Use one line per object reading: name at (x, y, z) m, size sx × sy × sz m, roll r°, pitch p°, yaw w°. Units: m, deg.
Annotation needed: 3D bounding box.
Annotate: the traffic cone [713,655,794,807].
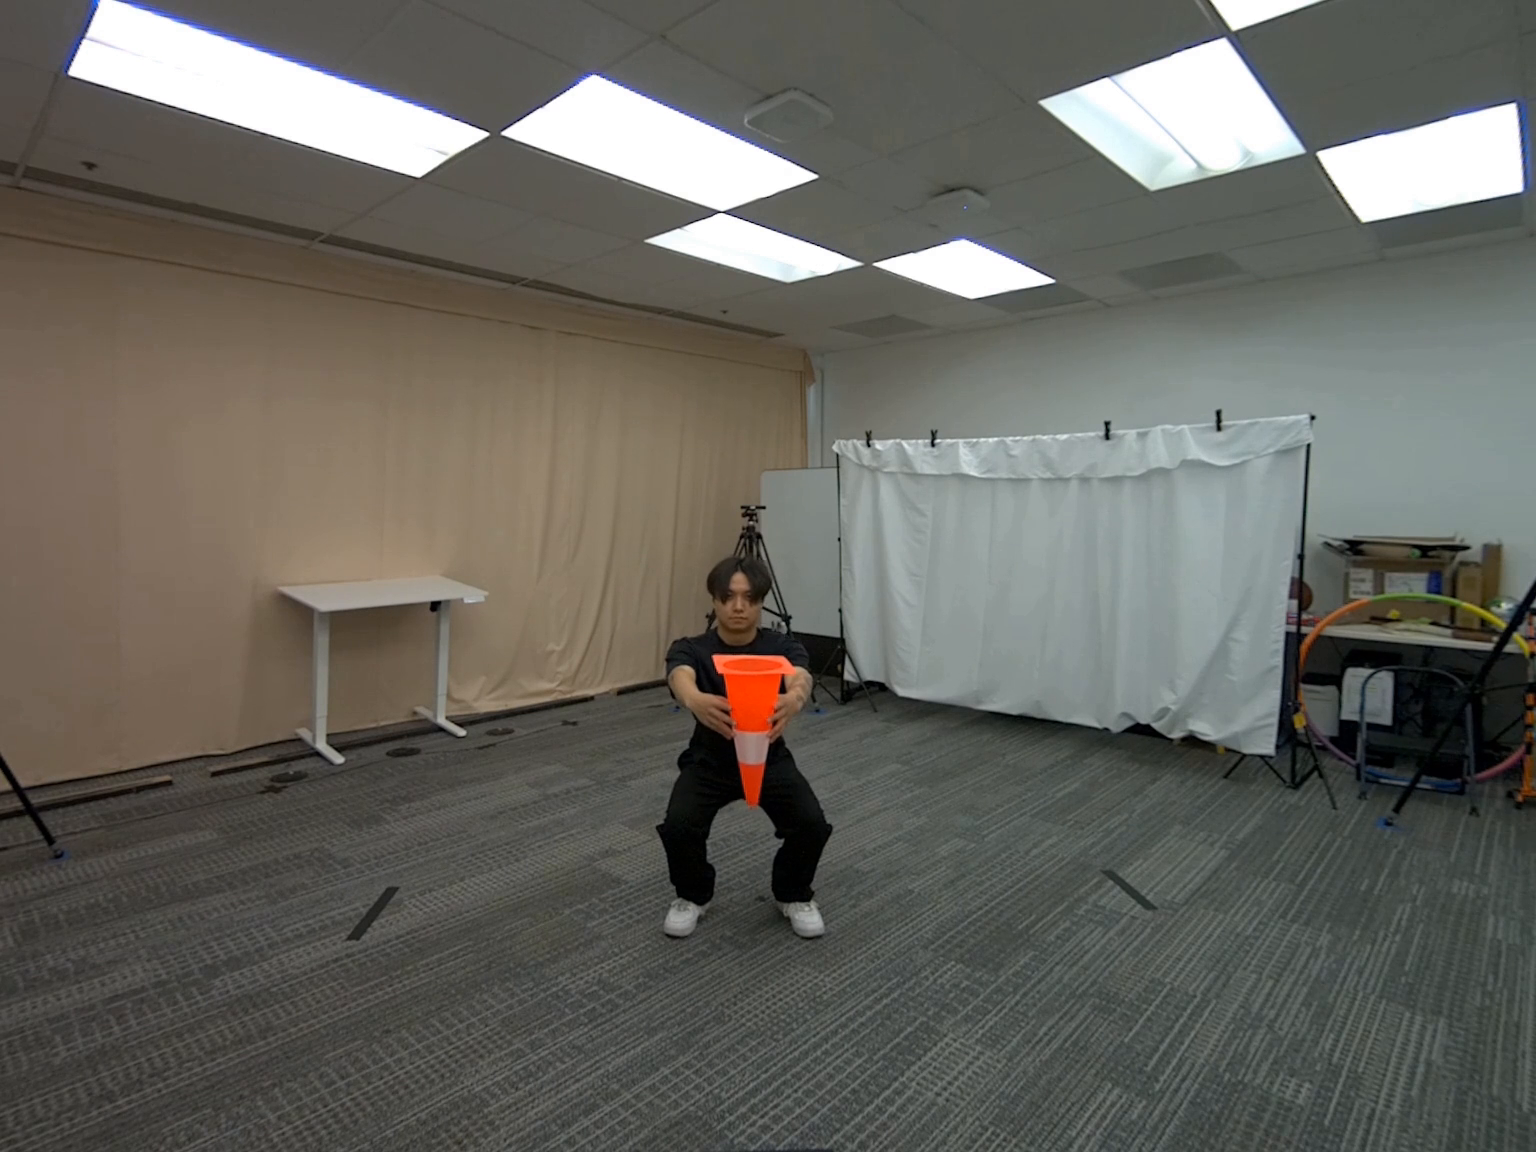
traffic cone at (-0.044, 0.419, 2.208) m, size 0.203 × 0.382 × 0.206 m, roll 0°, pitch 6°, yaw -10°
